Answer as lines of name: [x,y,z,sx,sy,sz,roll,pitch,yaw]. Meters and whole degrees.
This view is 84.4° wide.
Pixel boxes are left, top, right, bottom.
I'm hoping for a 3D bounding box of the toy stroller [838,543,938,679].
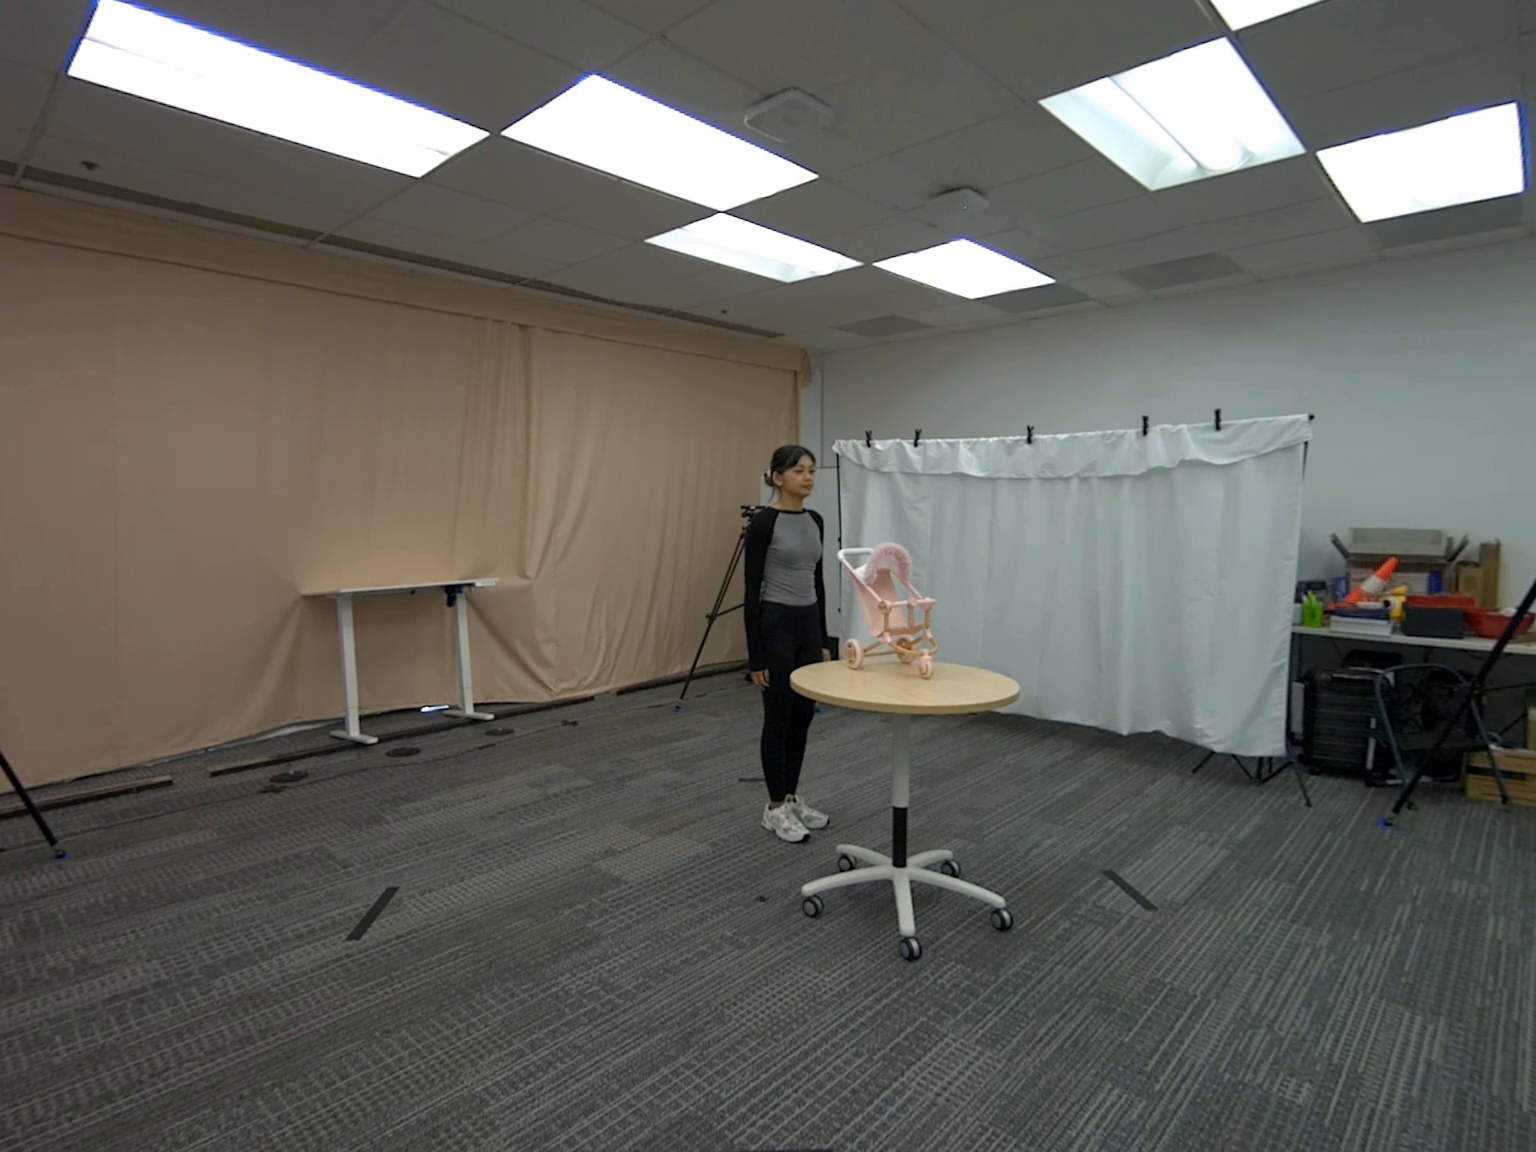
toy stroller: [0.452,0.117,3.073,0.275,0.539,0.347,-2,-12,-26]
